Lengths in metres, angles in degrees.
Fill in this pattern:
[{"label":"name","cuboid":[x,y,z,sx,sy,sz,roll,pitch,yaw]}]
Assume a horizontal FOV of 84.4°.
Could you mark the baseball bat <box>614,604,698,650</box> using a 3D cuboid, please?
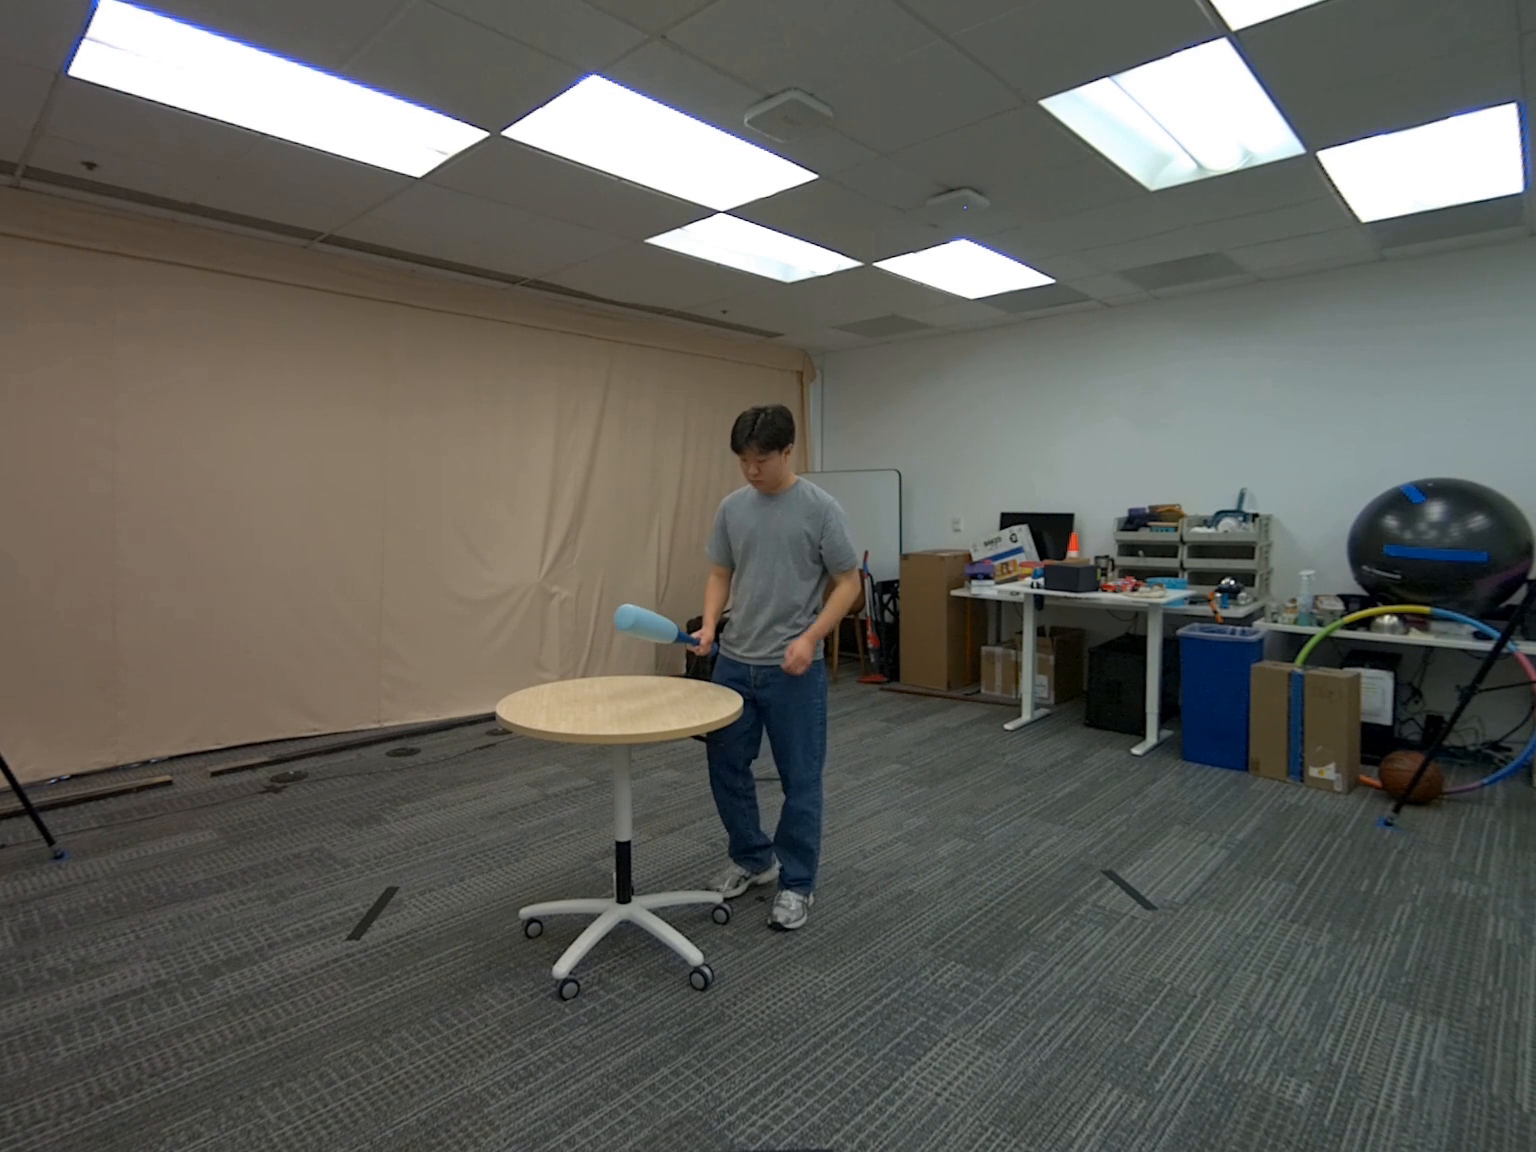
[{"label":"baseball bat","cuboid":[-0.308,0.194,2.700,0.091,0.089,0.525,2,-14,28]}]
